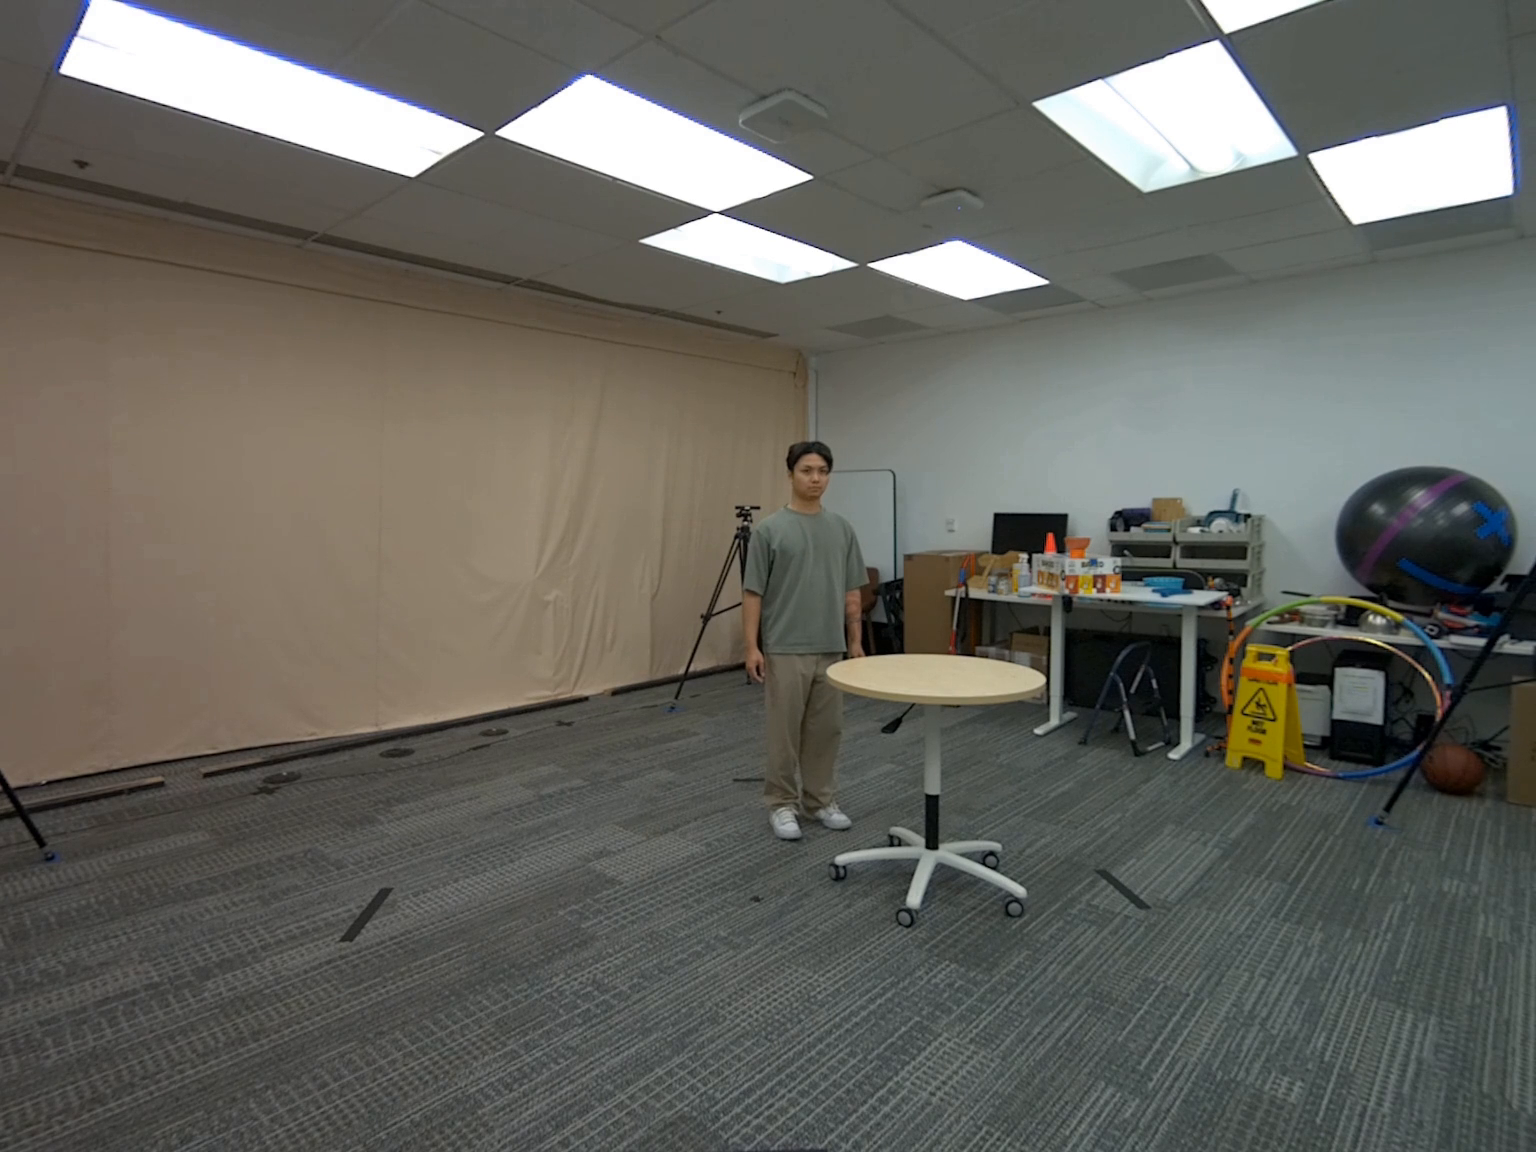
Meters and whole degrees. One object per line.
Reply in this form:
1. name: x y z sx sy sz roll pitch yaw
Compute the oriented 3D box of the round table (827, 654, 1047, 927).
1. round table: 0.591 0.743 3.061 0.784 0.785 0.788 0 3 -2
